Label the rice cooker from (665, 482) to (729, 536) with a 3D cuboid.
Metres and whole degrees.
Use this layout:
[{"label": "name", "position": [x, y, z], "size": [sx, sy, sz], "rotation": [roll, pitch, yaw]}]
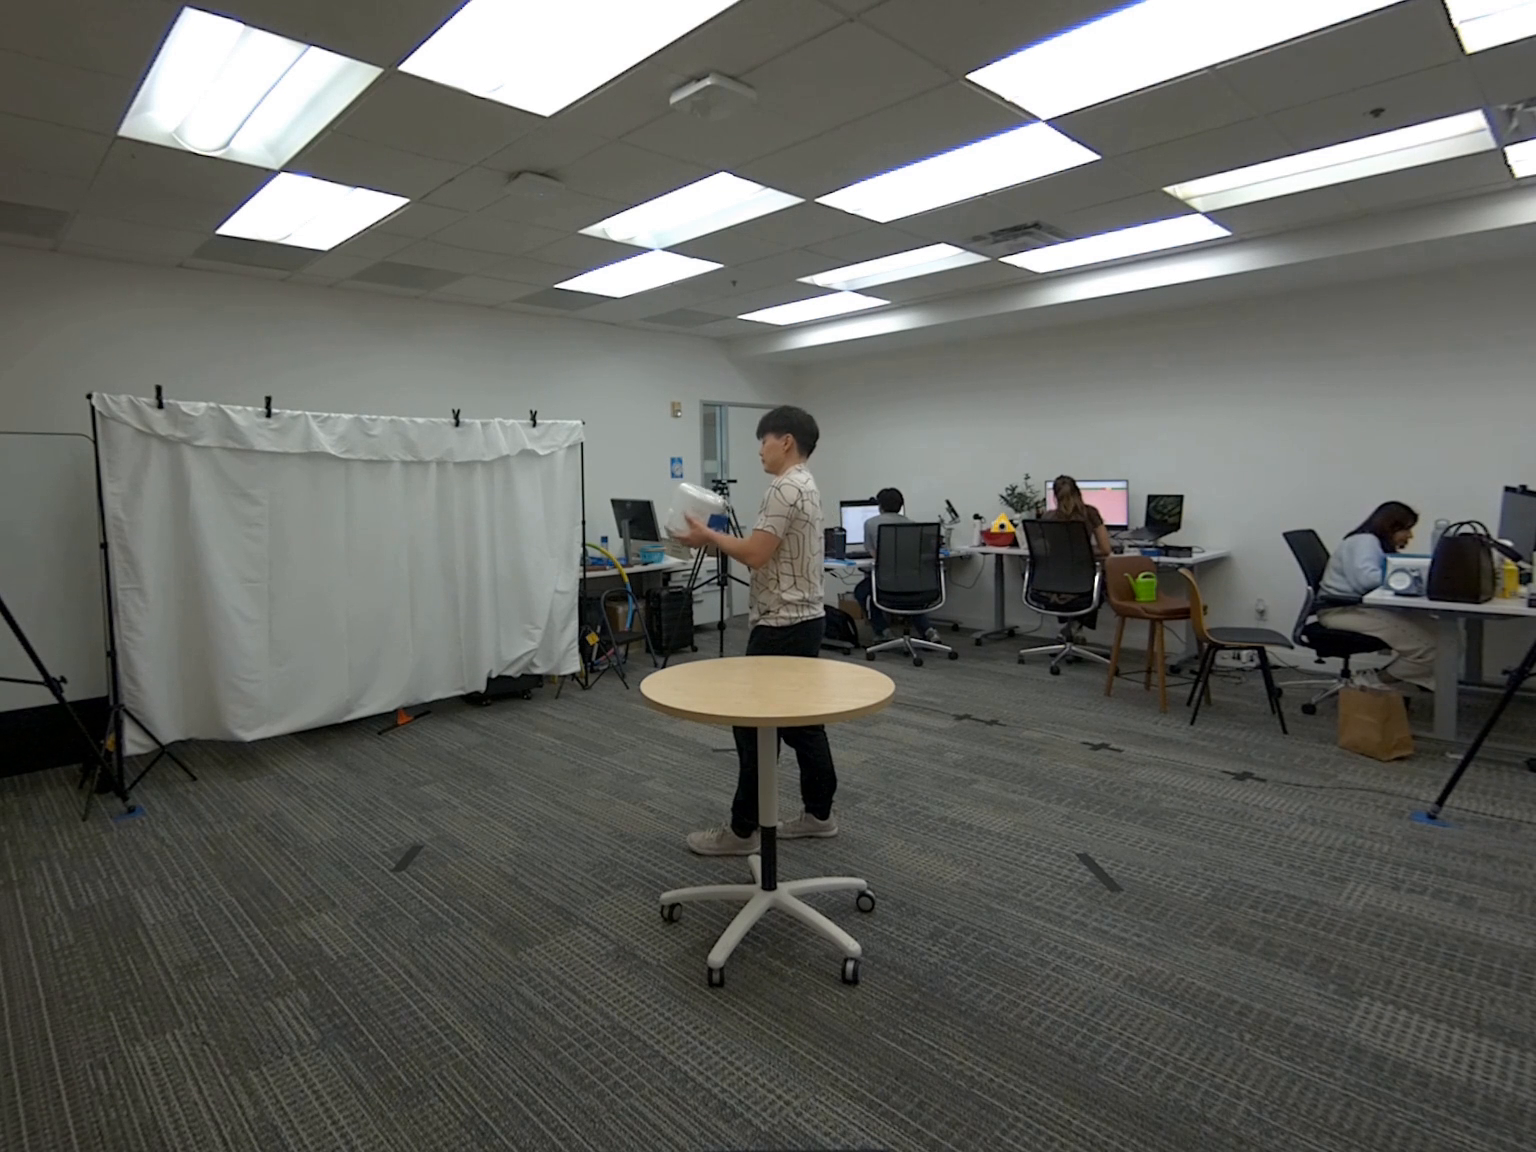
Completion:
[{"label": "rice cooker", "position": [-0.288, -0.235, 3.373], "size": [0.213, 0.232, 0.226], "rotation": [17, 11, -35]}]
